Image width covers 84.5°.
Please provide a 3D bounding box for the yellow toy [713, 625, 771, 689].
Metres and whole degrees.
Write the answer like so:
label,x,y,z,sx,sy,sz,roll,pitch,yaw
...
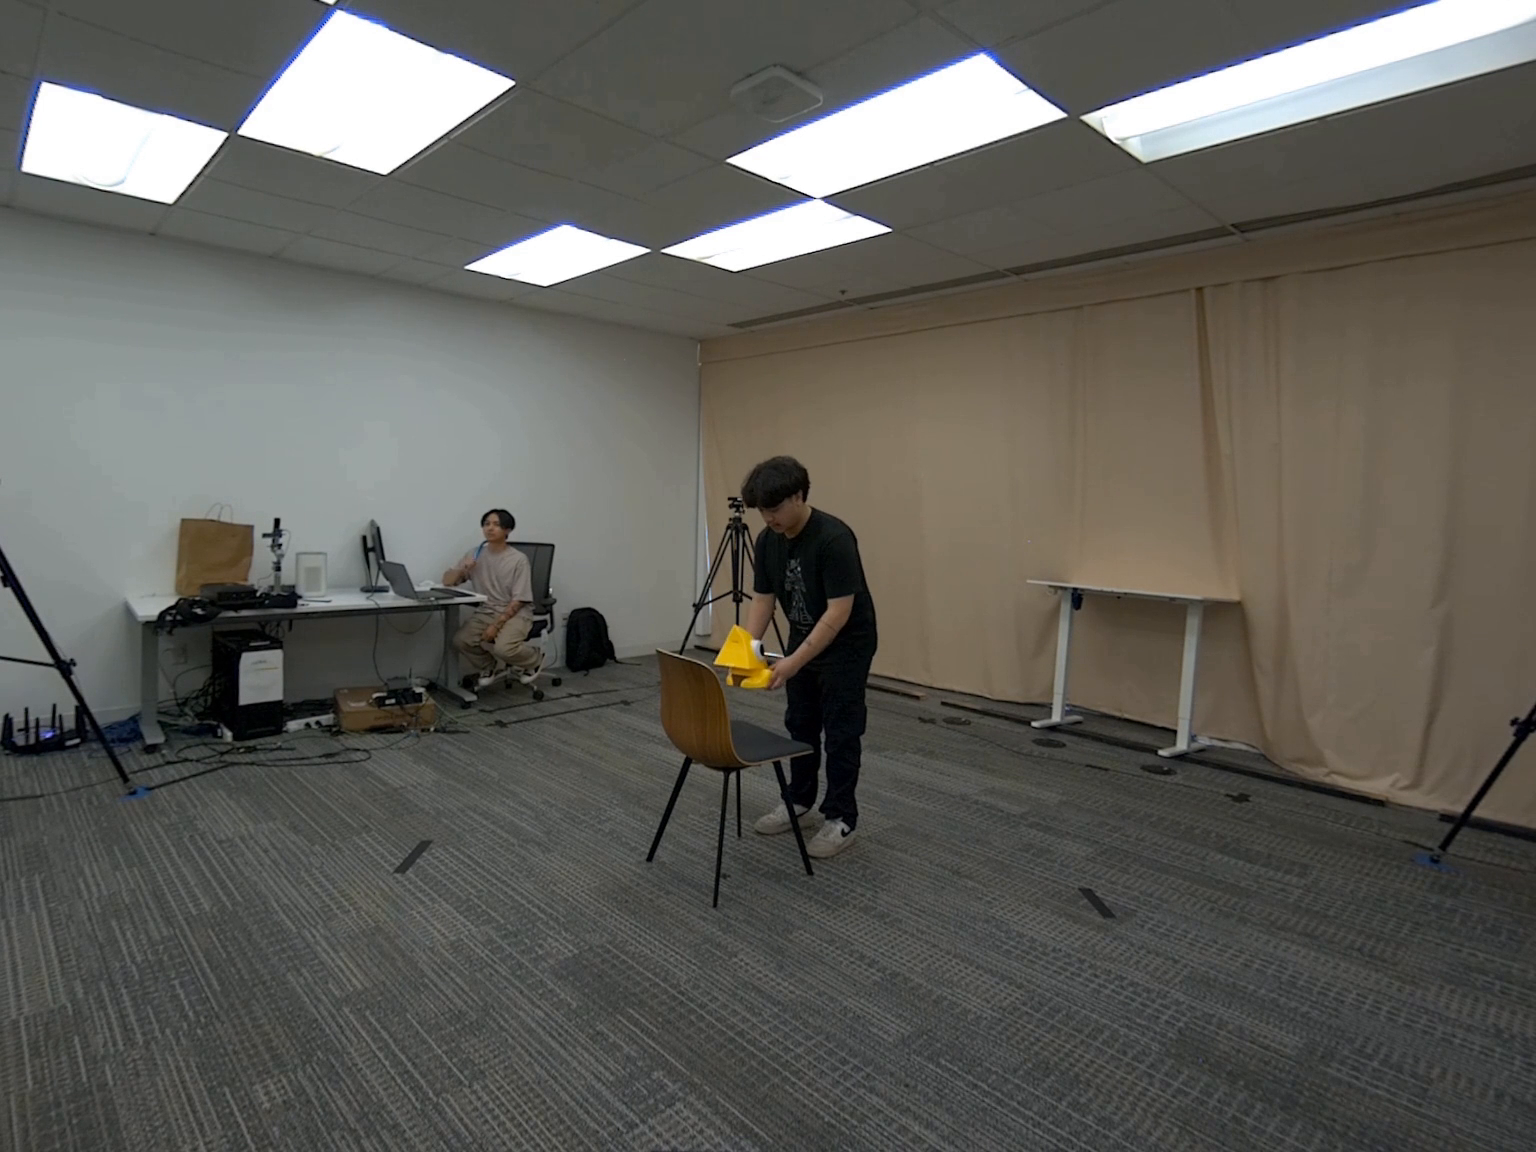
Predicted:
label,x,y,z,sx,sy,sz,roll,pitch,yaw
yellow toy,-0.082,0.295,3.183,0.189,0.230,0.209,-7,4,-40
